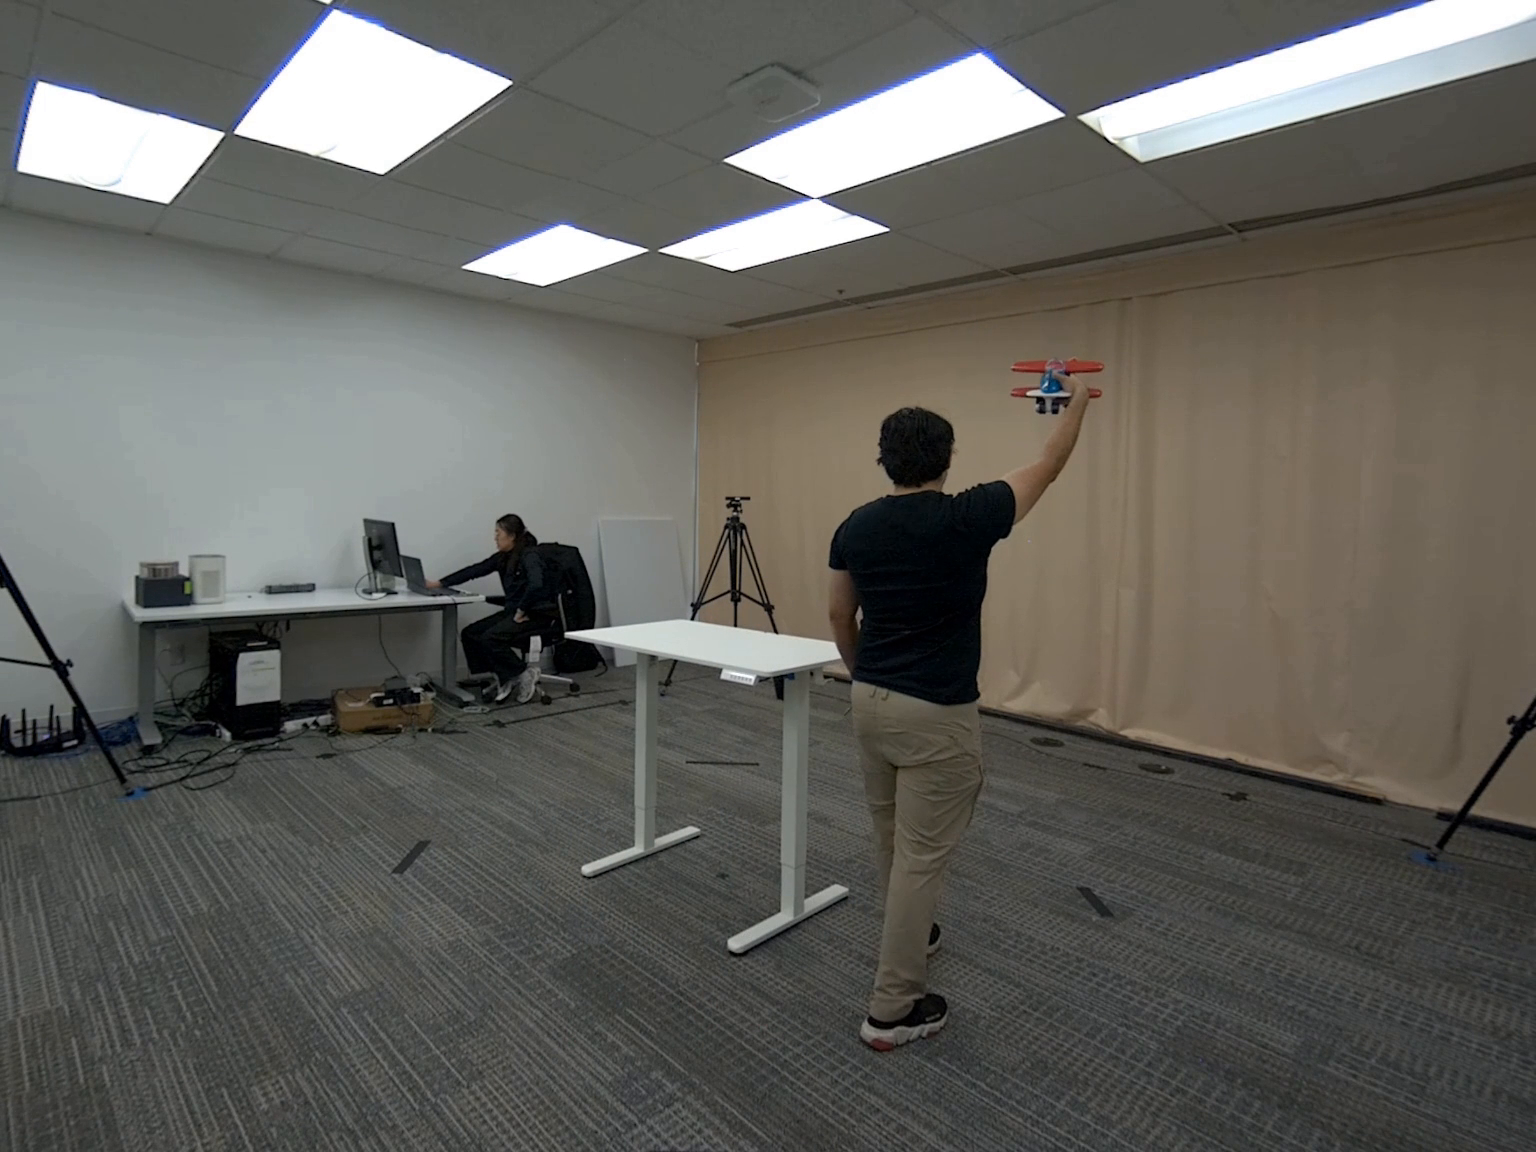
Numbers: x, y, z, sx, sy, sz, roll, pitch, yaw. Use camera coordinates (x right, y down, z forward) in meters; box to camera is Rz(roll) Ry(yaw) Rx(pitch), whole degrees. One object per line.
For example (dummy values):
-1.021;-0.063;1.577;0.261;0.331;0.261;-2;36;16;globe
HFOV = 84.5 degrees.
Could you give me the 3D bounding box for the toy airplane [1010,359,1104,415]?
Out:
0.848;-0.554;2.461;0.251;0.155;0.261;0;11;-2;toy airplane
